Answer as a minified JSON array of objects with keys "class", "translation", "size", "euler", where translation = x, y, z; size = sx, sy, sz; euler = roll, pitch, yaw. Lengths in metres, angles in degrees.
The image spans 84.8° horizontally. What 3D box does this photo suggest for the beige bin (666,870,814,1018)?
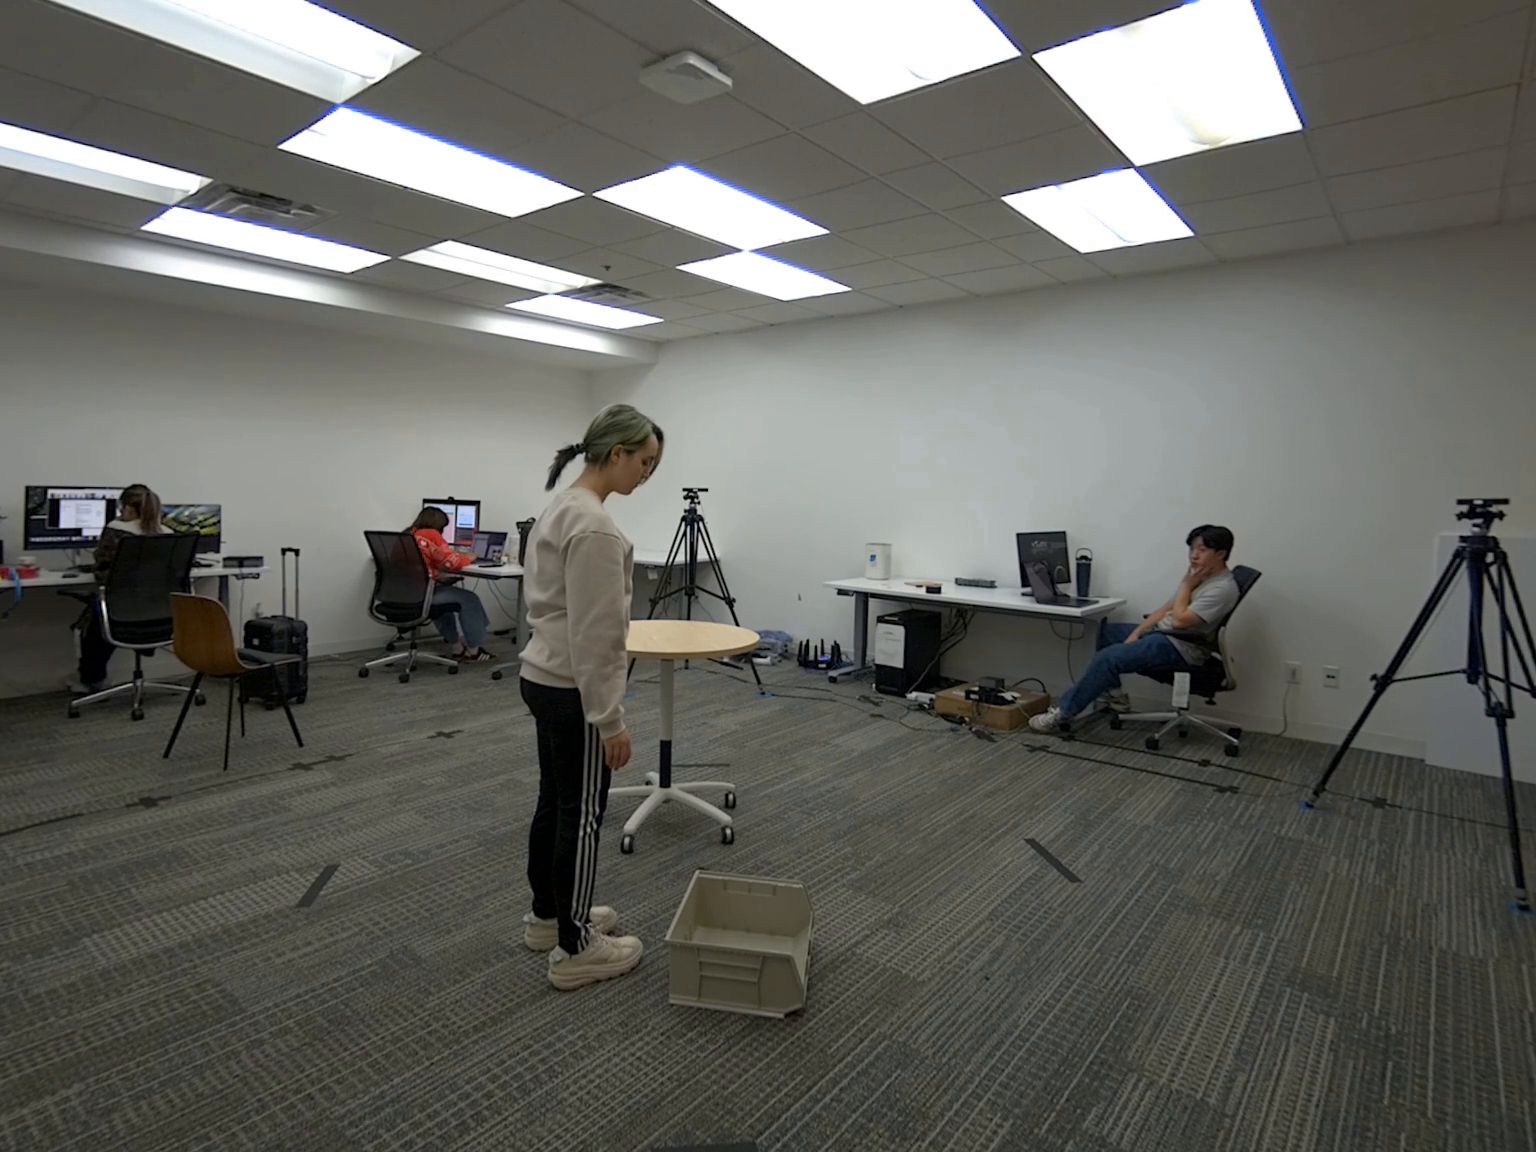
[{"class":"beige bin","translation":[-0.073,1.051,2.449],"size":[0.381,0.188,0.420],"euler":[1,6,8]}]
